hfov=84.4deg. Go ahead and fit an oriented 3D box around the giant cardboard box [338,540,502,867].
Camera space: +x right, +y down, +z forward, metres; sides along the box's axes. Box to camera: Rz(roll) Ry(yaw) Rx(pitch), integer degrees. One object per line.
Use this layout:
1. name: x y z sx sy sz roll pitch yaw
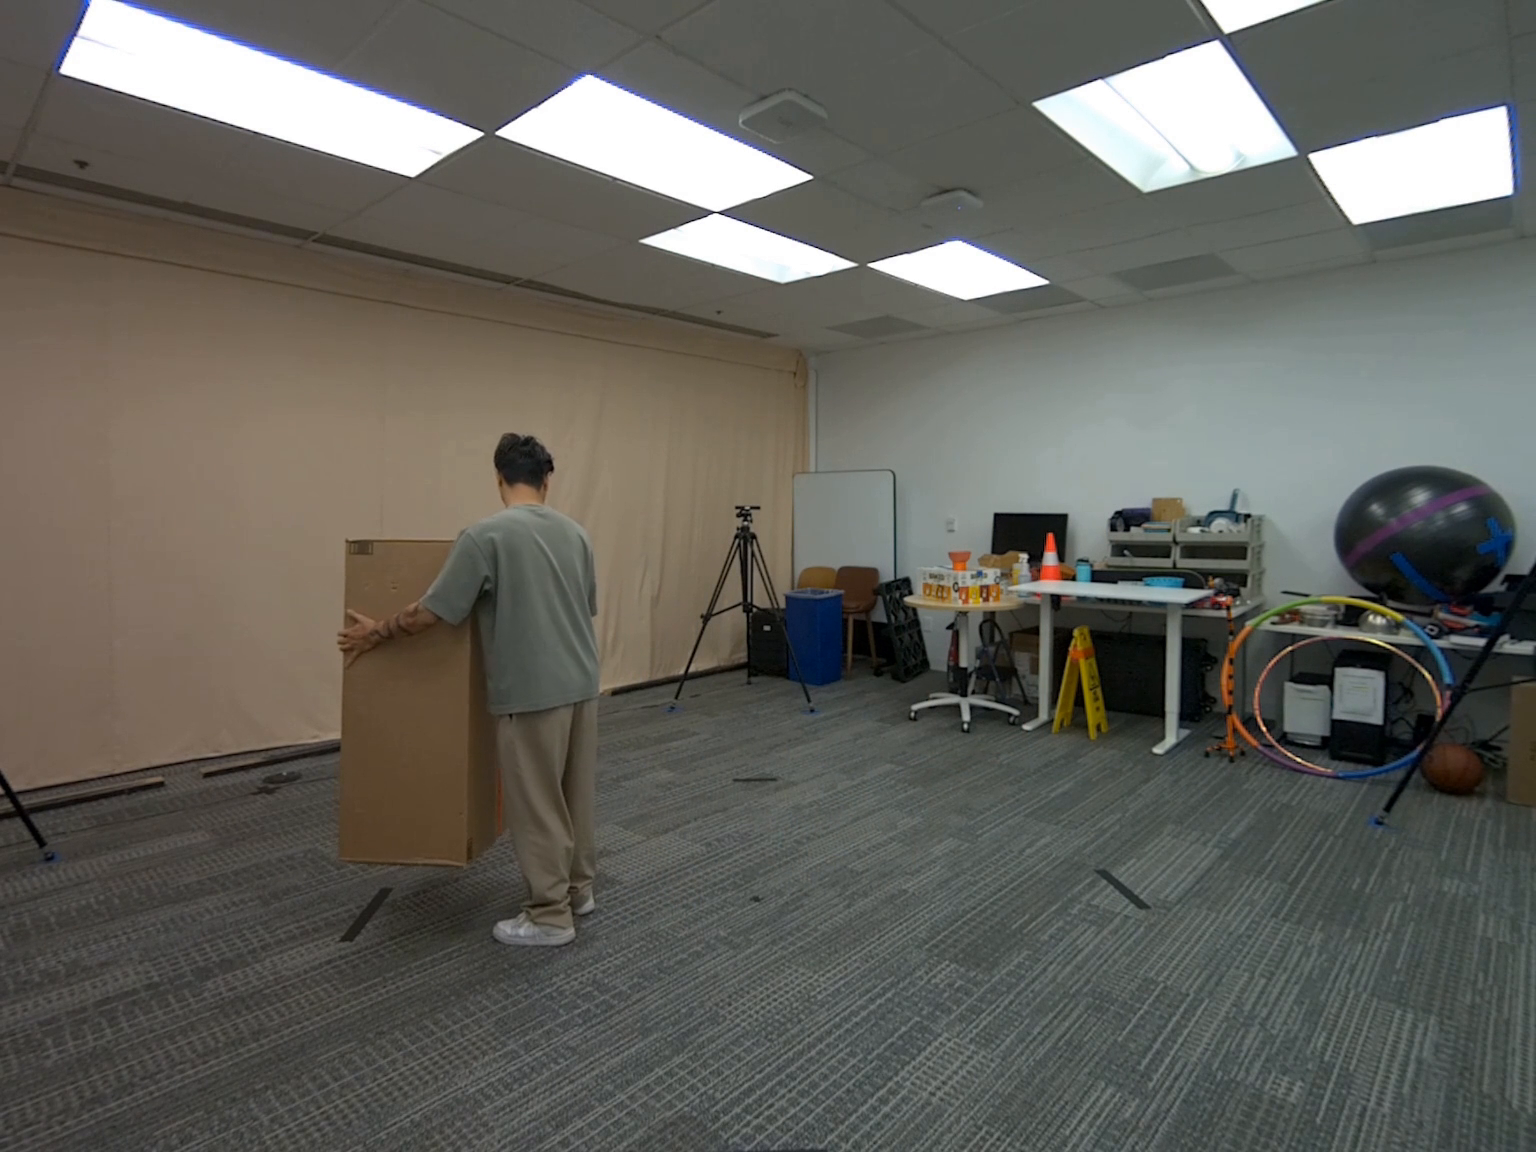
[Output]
1. giant cardboard box: -1.156 0.402 2.919 0.426 1.027 0.576 -2 -2 -1
